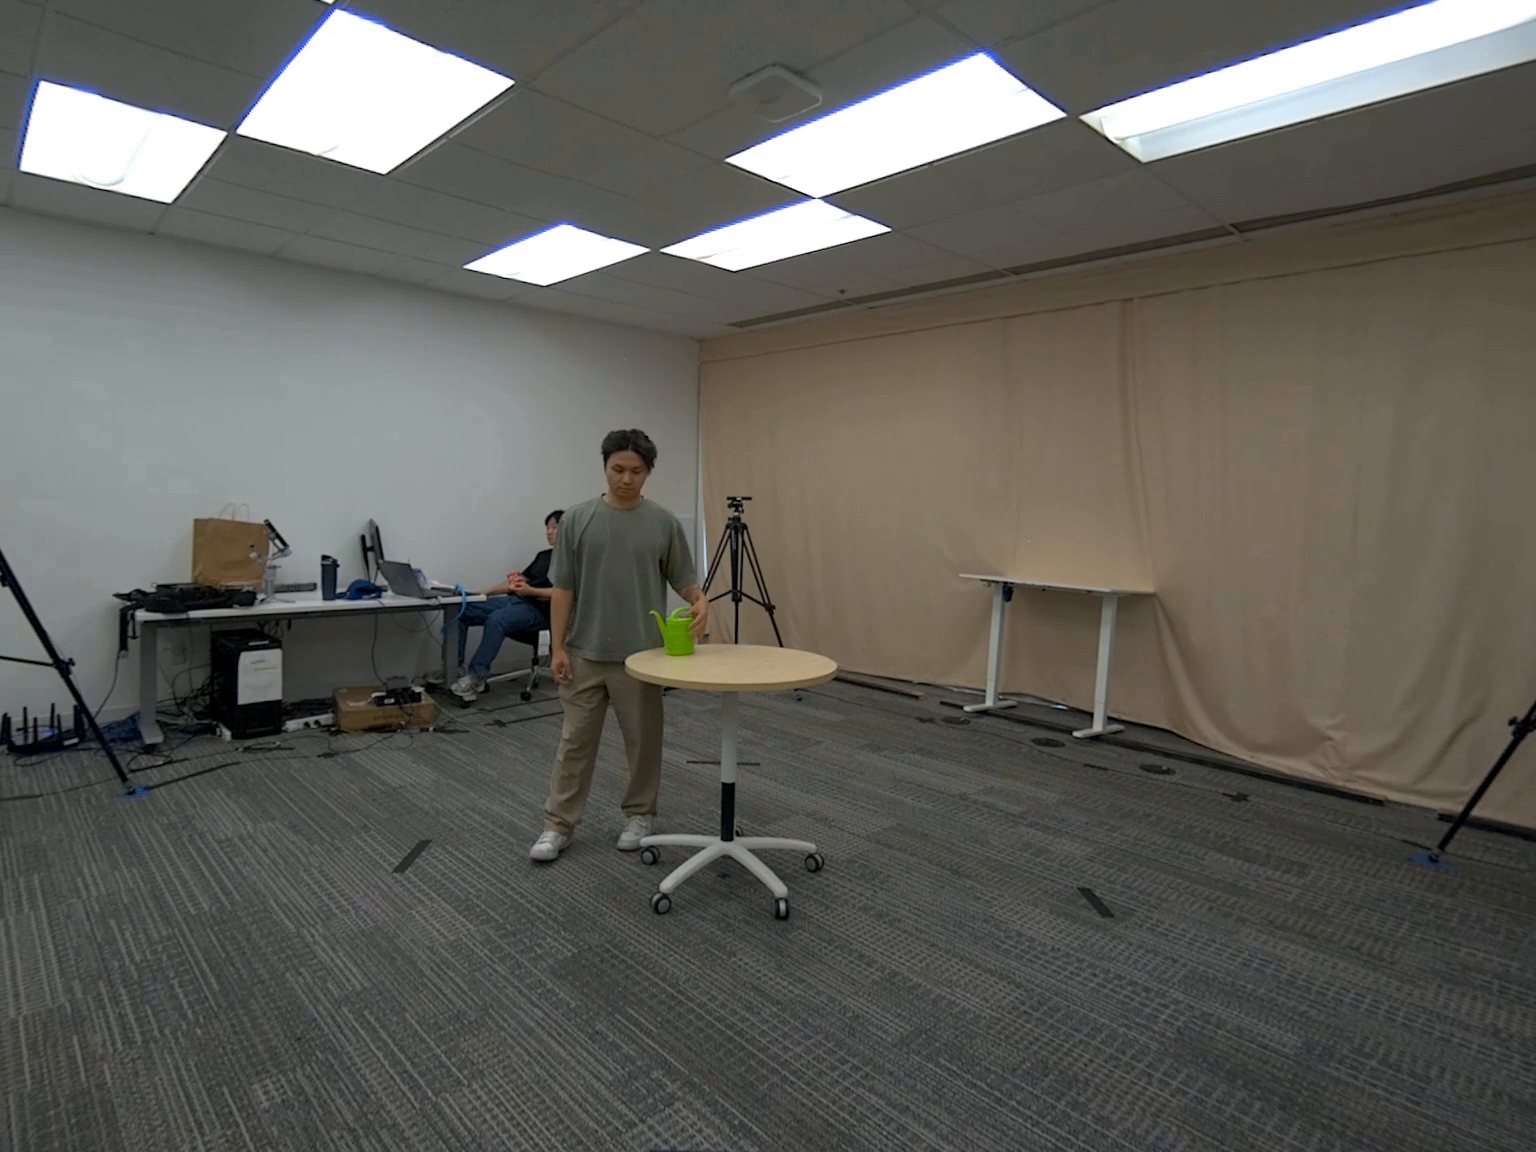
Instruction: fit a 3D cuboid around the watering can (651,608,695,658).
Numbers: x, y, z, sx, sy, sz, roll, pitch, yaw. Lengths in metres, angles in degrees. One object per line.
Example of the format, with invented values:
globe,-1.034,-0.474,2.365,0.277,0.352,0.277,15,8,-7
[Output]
watering can,-0.372,0.216,3.168,0.271,0.176,0.100,1,4,-43
